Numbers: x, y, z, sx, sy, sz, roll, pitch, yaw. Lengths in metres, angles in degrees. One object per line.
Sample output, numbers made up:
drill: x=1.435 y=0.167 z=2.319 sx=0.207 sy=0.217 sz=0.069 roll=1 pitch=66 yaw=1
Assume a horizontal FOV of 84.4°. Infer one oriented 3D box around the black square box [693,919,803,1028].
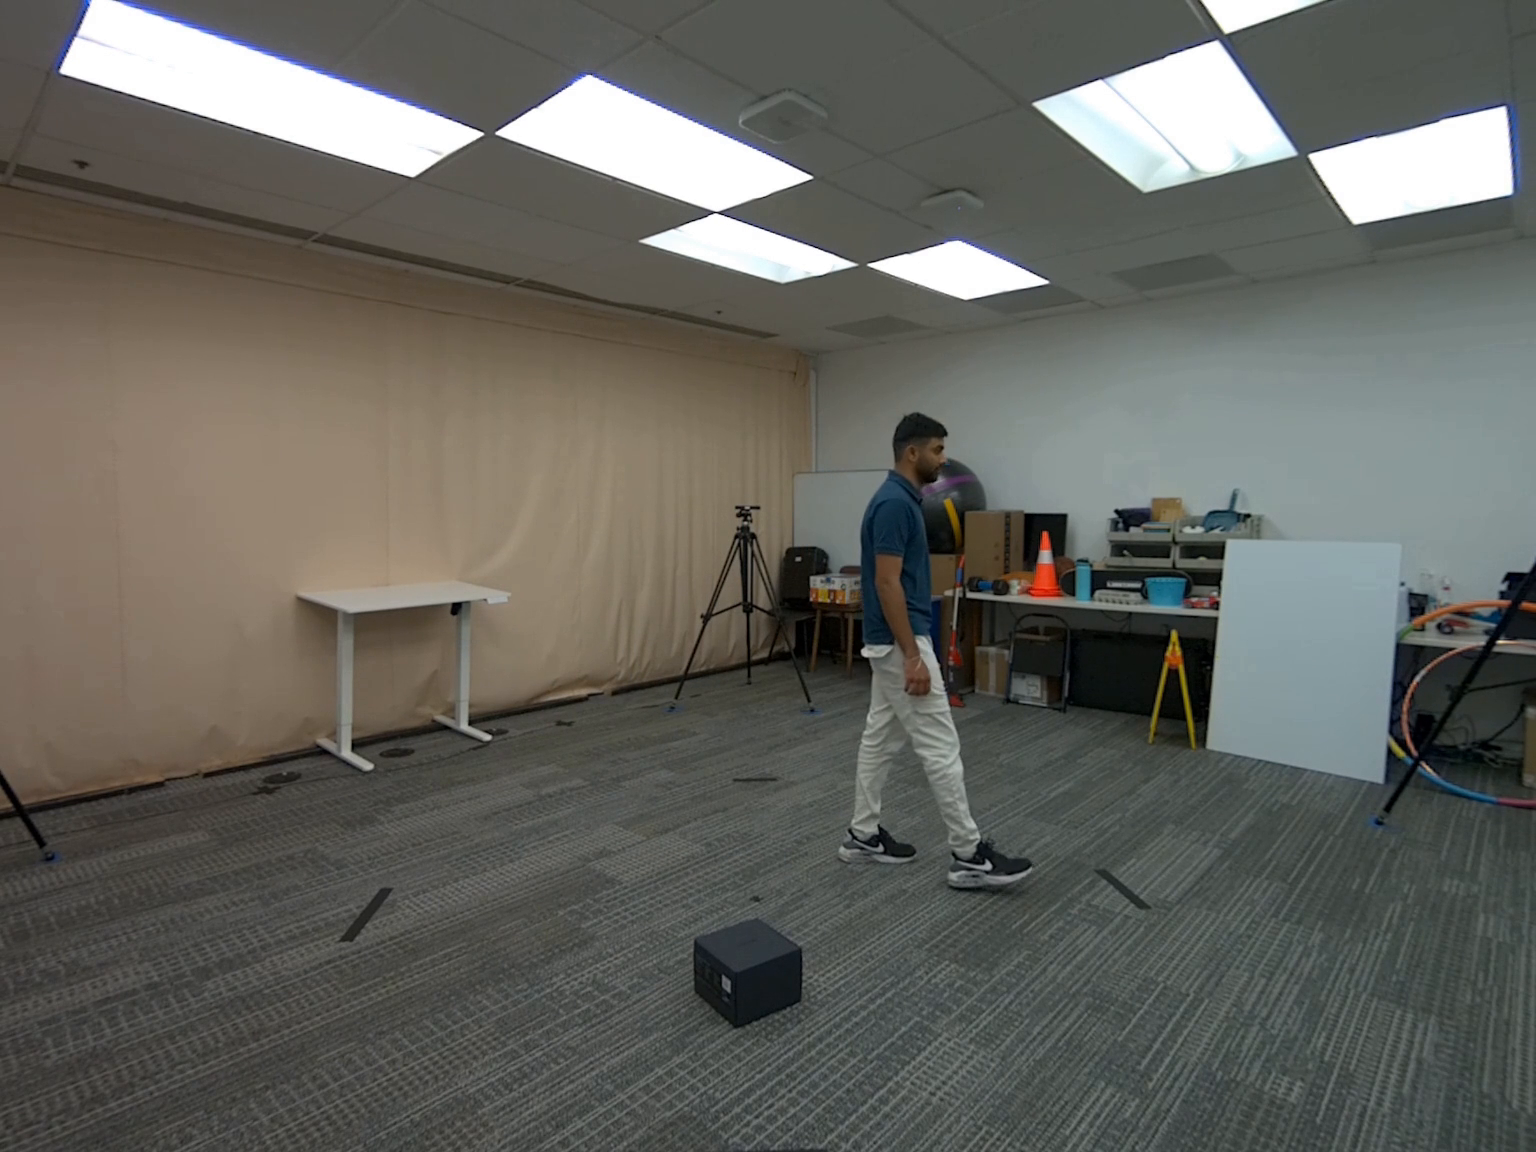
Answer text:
black square box: x=-0.054 y=1.113 z=2.380 sx=0.221 sy=0.155 sz=0.224 roll=-3 pitch=5 yaw=-36
